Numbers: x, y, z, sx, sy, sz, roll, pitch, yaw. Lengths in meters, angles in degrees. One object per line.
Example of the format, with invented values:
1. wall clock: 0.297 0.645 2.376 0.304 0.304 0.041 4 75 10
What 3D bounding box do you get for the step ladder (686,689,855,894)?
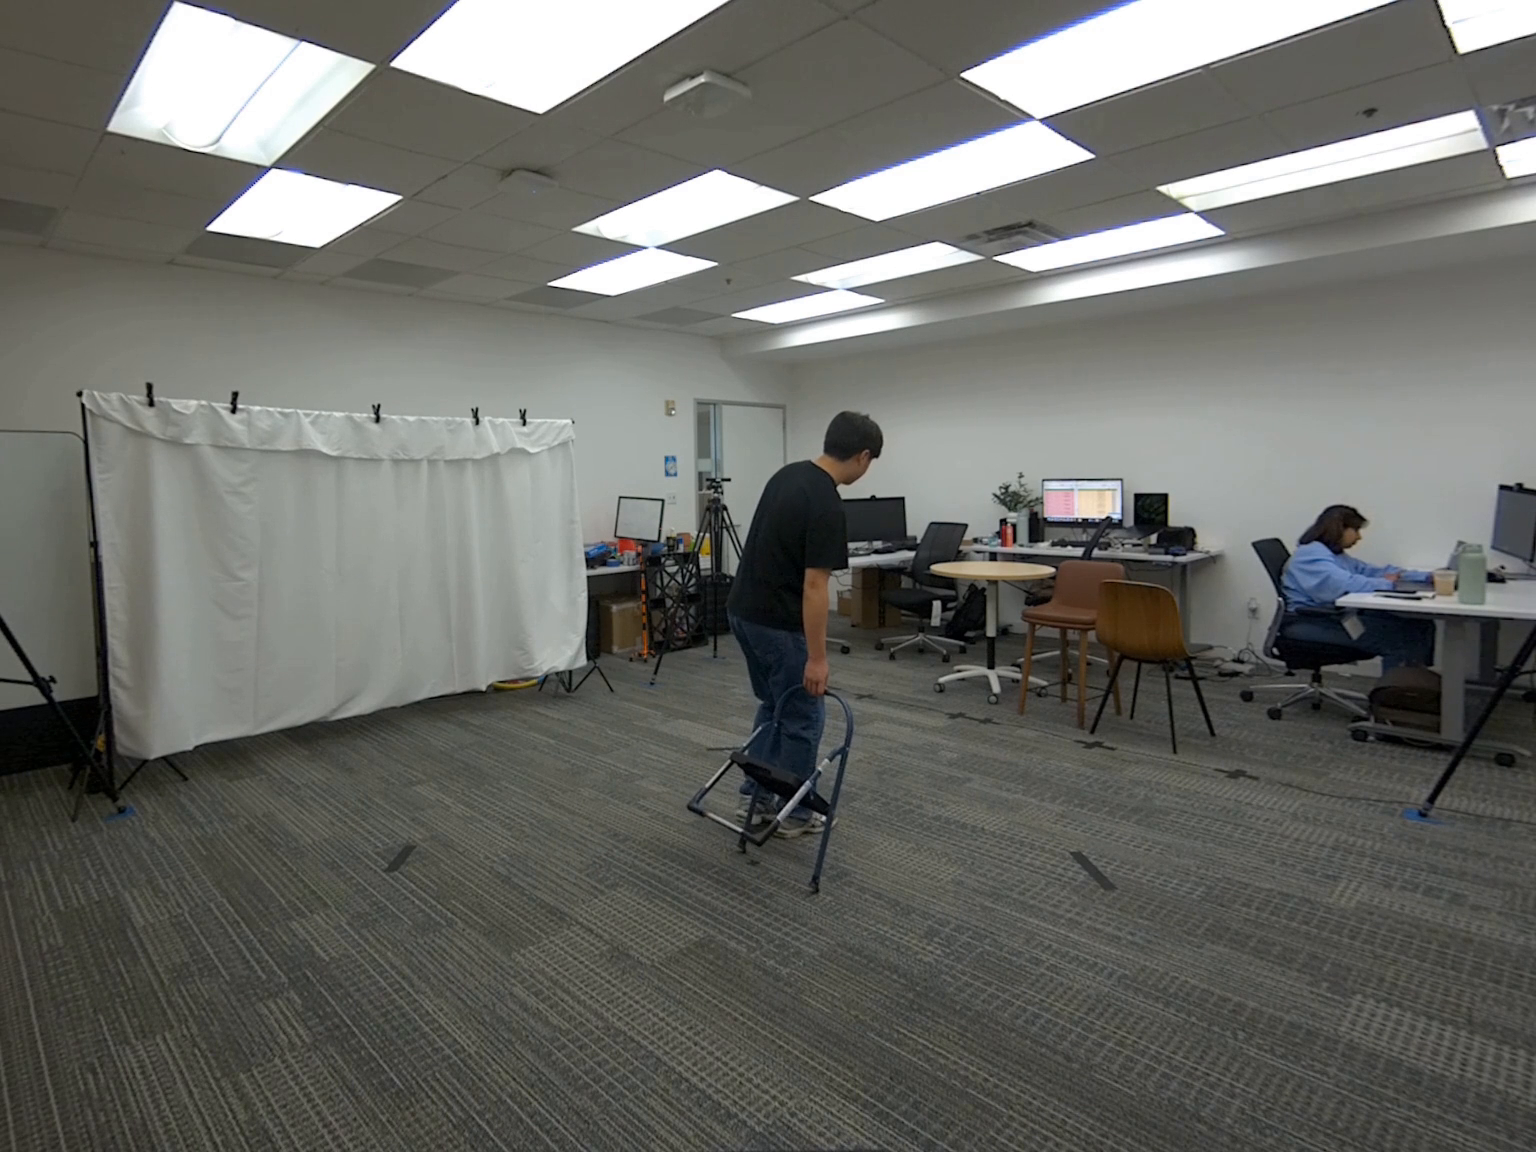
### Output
1. step ladder: 0.081 0.701 3.059 0.444 0.609 0.337 5 -33 51
